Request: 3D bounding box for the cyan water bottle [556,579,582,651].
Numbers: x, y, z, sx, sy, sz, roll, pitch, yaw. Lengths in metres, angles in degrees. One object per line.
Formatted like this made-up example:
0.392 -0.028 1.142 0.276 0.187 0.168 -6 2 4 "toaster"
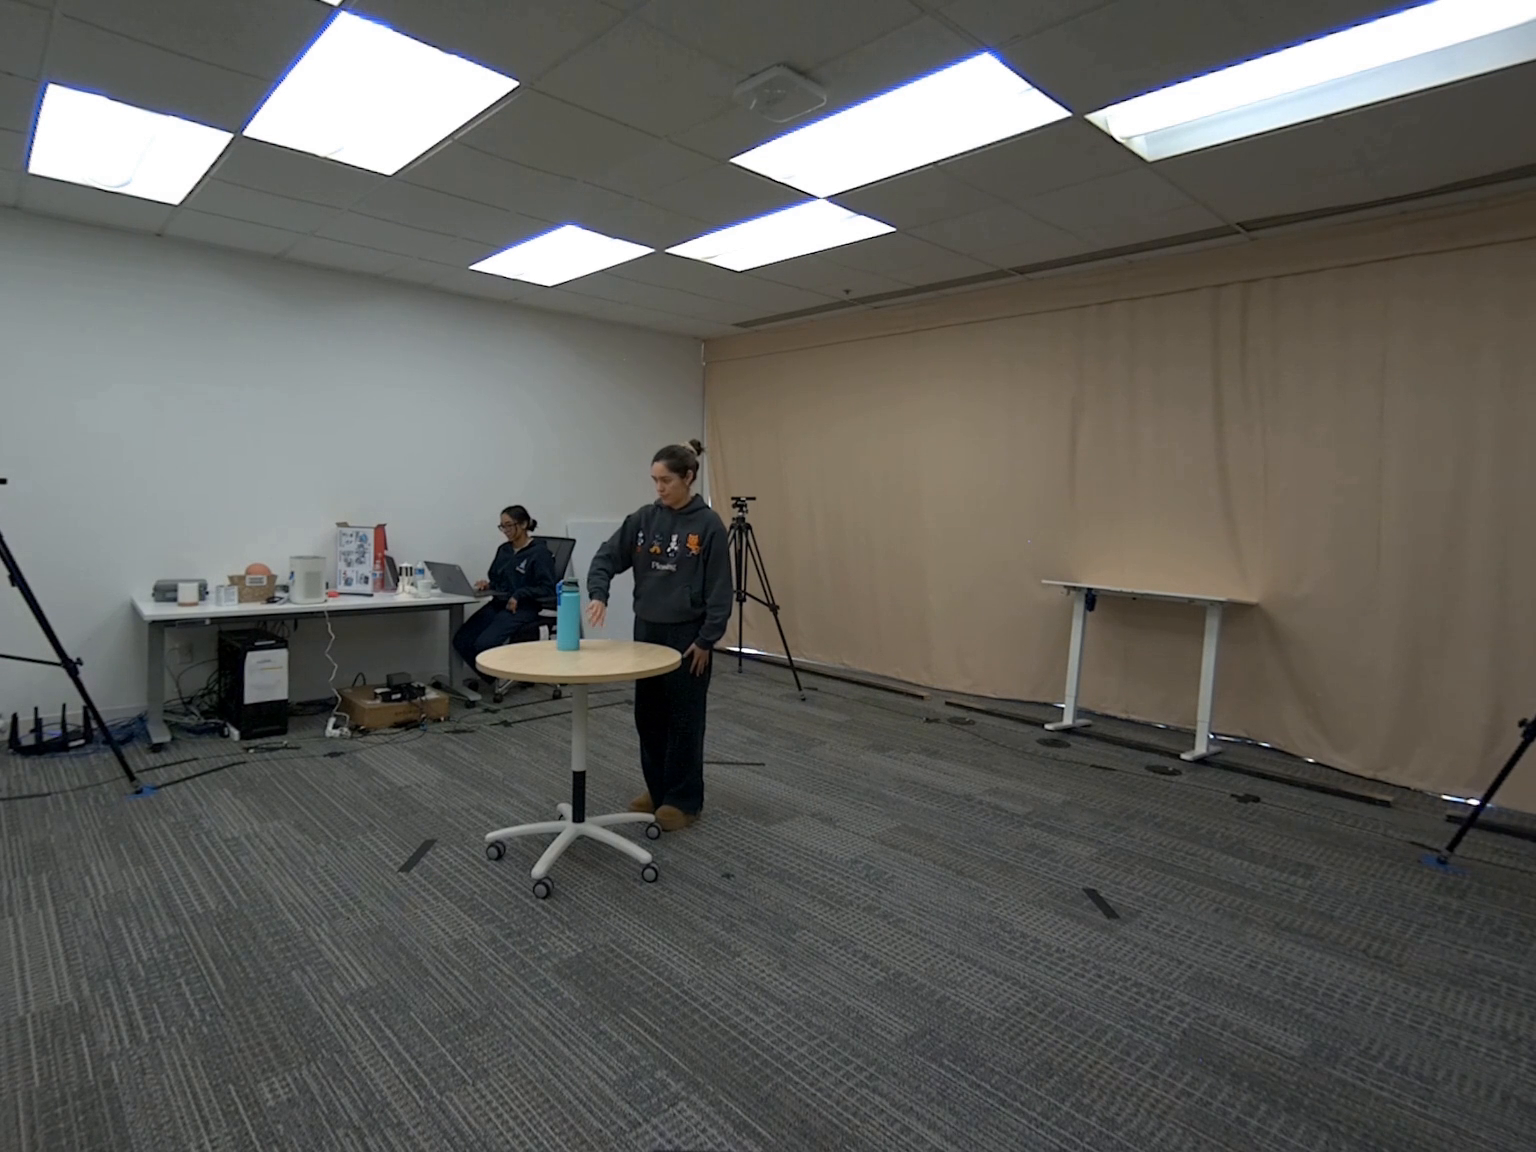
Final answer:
-0.803 0.152 3.325 0.092 0.283 0.092 0 1 -1 "cyan water bottle"
